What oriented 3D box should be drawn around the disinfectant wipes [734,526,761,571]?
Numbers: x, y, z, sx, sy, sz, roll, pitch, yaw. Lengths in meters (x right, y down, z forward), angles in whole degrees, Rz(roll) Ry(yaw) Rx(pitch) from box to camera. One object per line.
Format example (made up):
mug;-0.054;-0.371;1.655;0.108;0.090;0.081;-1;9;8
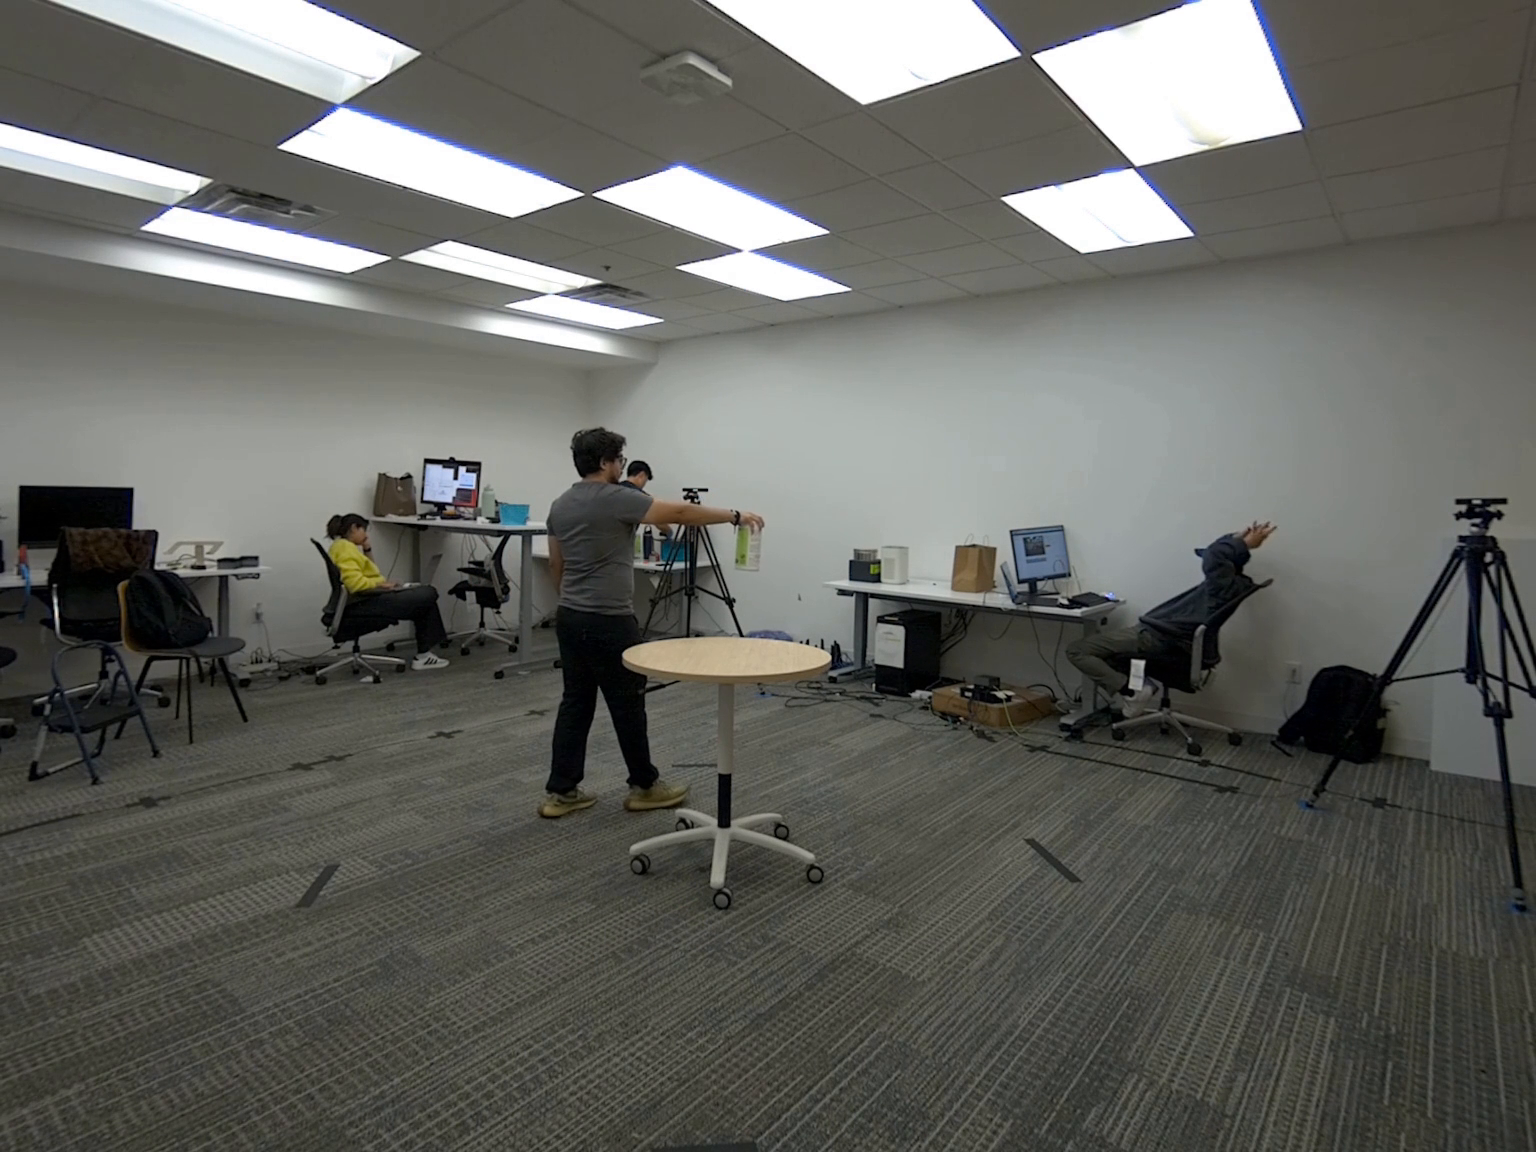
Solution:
disinfectant wipes;-0.092;-0.135;3.795;0.118;0.217;0.118;4;0;-2
